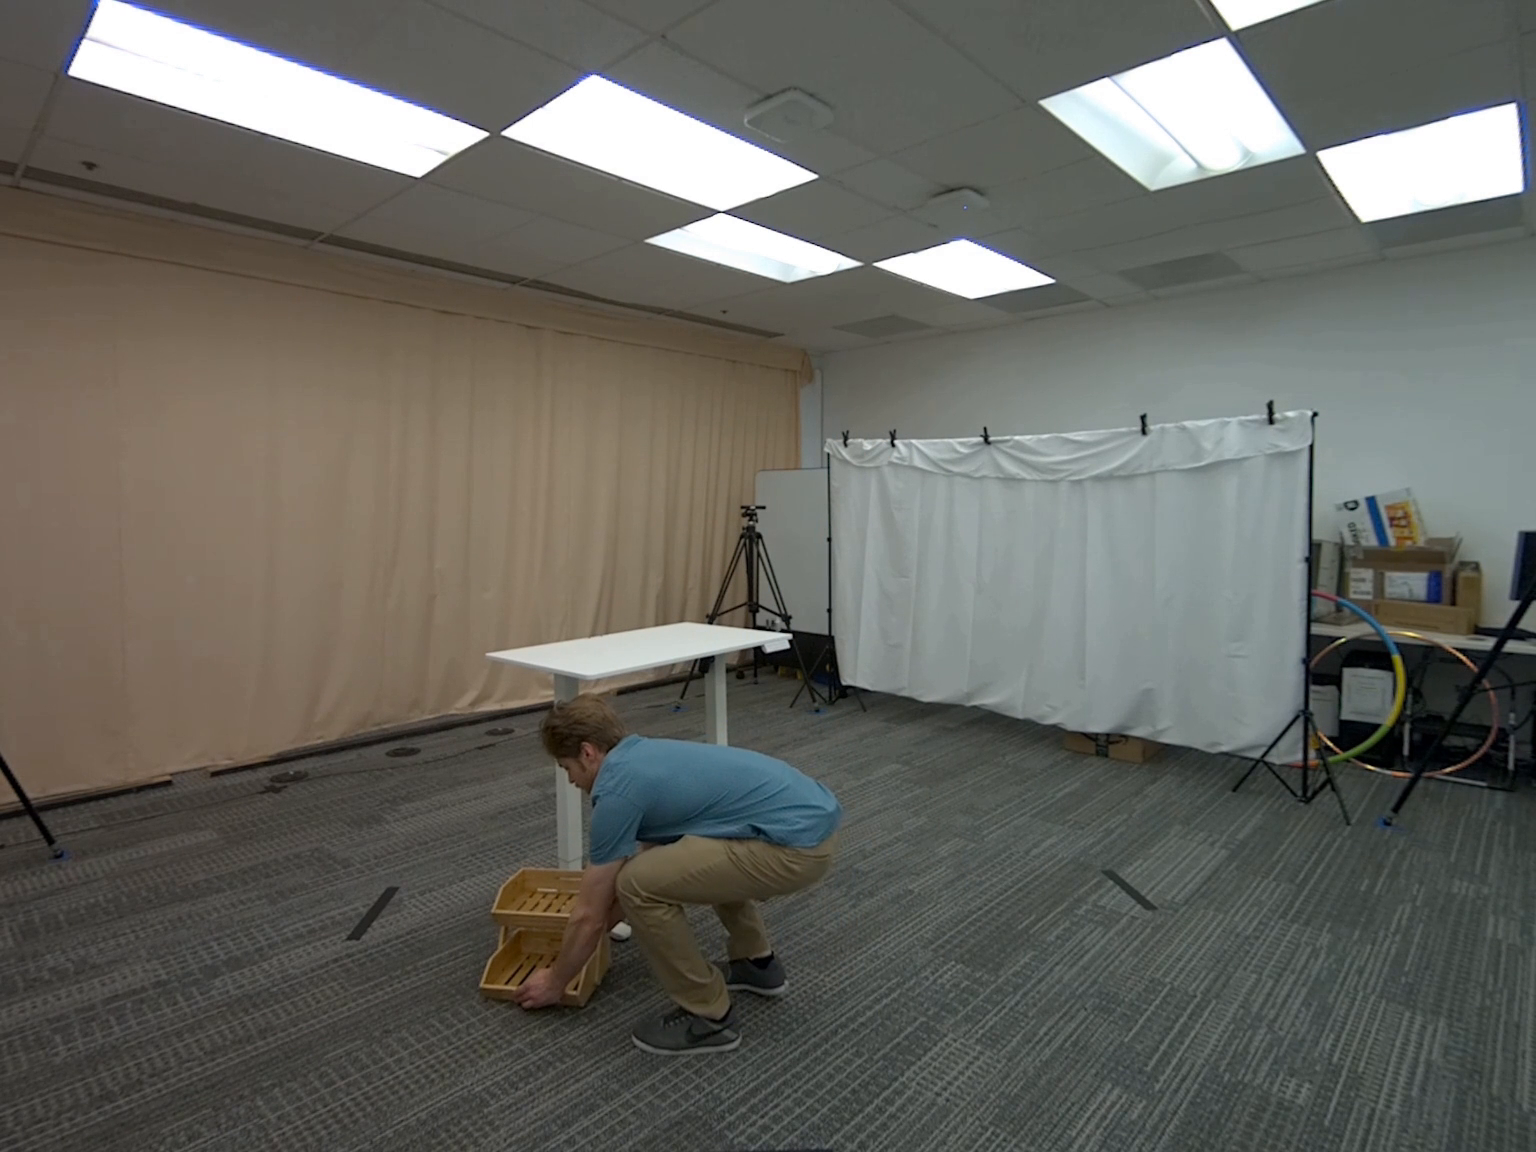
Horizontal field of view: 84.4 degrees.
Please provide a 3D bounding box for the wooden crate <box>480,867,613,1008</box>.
[{"bbox_3d":[-0.642,1.061,2.452,0.328,0.273,0.299,-2,2,10],"label":"wooden crate"}]
